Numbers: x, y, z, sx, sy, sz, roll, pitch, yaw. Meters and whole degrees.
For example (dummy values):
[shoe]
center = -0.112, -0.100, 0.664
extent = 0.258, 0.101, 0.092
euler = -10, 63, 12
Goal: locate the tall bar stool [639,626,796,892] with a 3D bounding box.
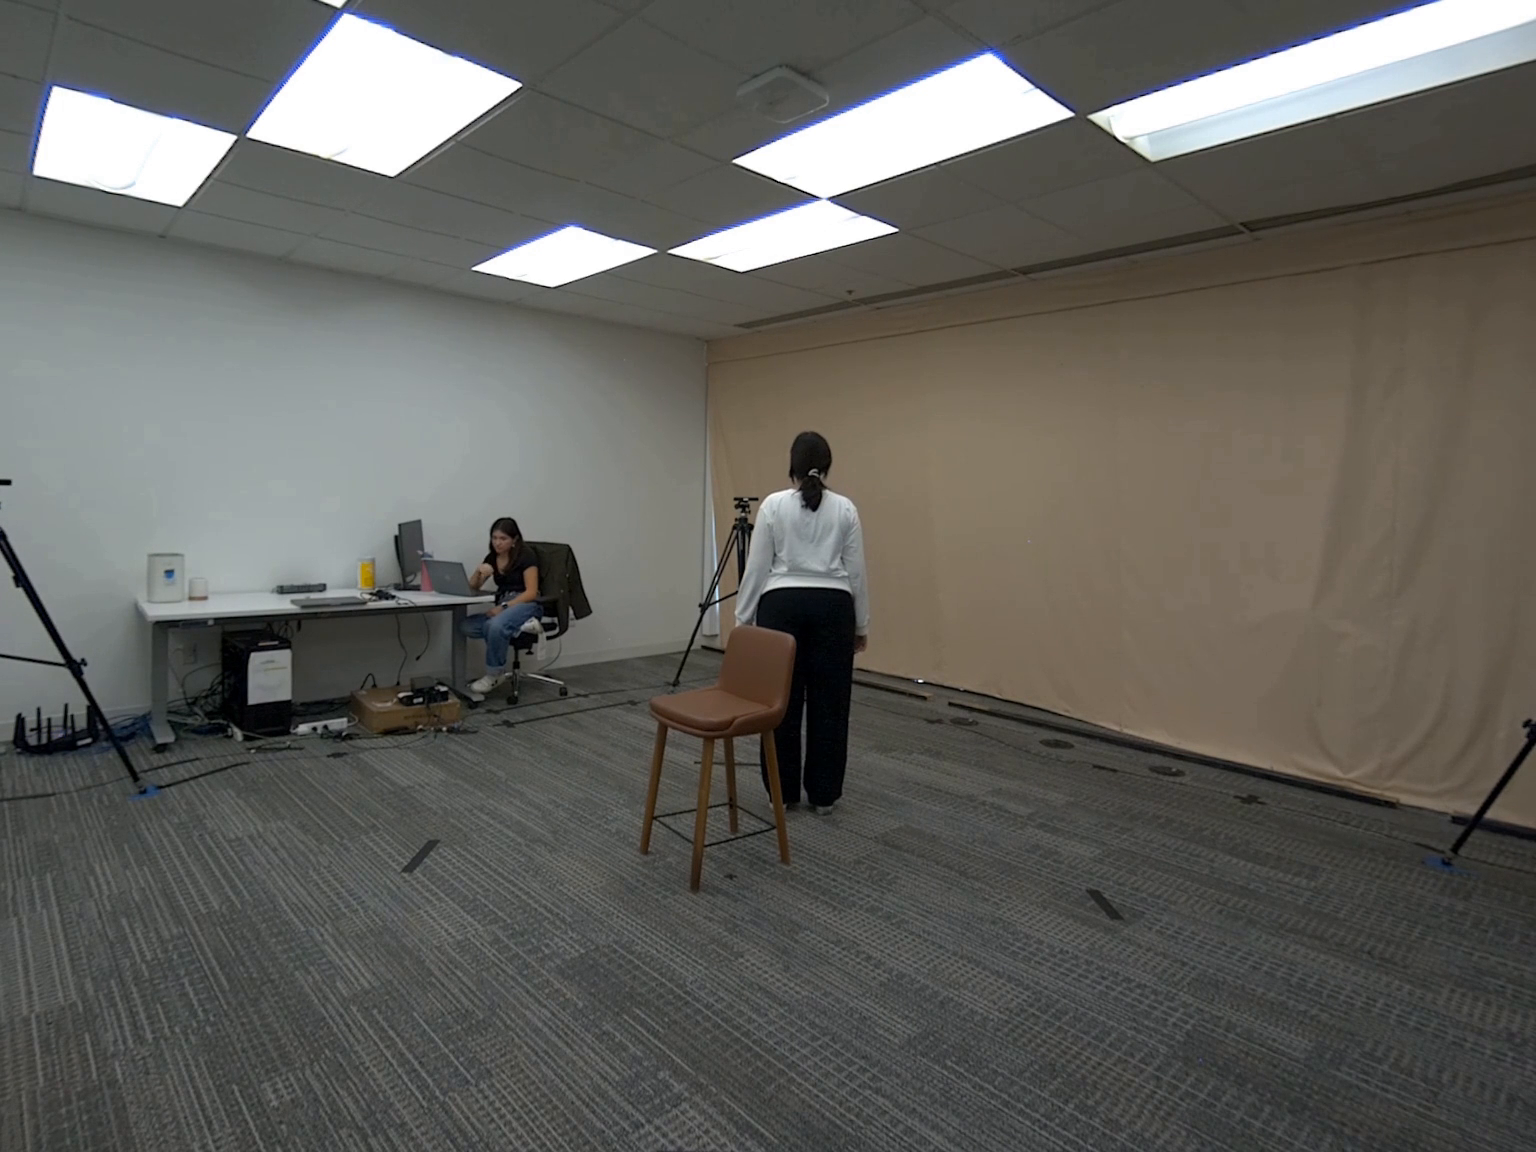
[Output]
[tall bar stool]
center = -0.198, 0.659, 3.238
extent = 0.457, 0.889, 0.467
euler = 2, 2, -35
